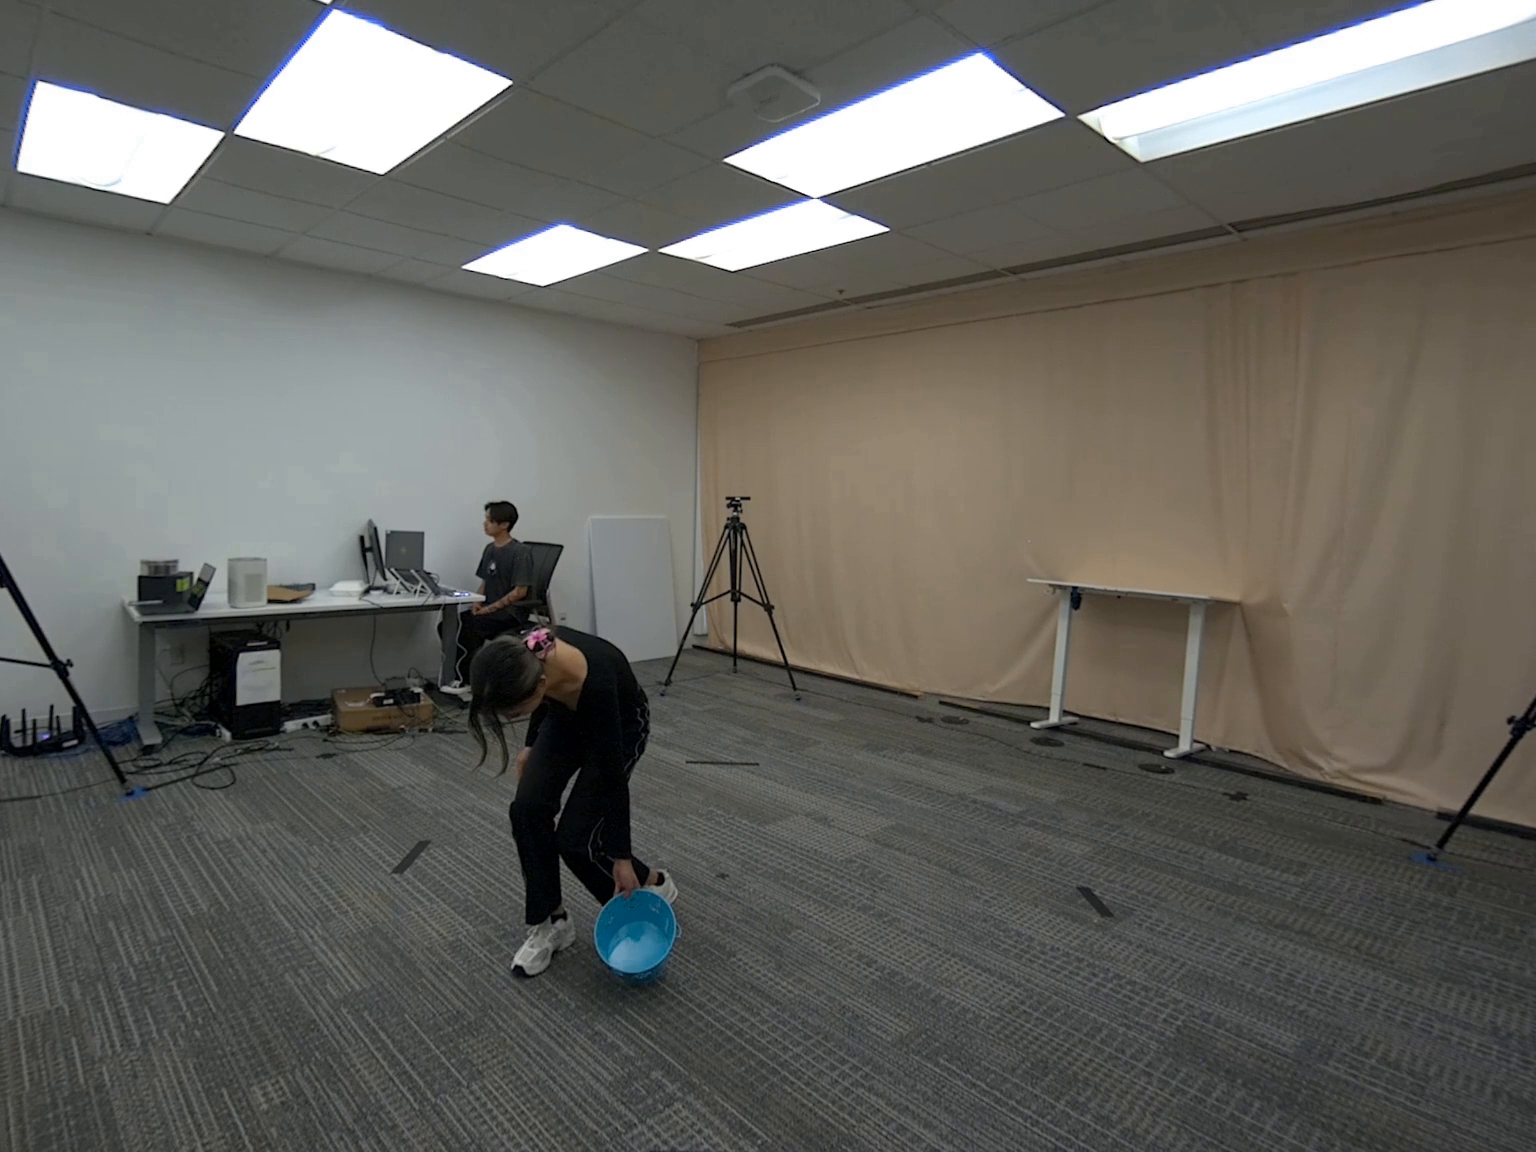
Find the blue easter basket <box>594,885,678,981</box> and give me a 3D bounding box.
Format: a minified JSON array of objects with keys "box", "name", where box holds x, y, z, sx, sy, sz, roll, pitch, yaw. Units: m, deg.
[{"box":[-0.381,1.059,2.407,0.243,0.152,0.249,0,40,-2],"name":"blue easter basket"}]
